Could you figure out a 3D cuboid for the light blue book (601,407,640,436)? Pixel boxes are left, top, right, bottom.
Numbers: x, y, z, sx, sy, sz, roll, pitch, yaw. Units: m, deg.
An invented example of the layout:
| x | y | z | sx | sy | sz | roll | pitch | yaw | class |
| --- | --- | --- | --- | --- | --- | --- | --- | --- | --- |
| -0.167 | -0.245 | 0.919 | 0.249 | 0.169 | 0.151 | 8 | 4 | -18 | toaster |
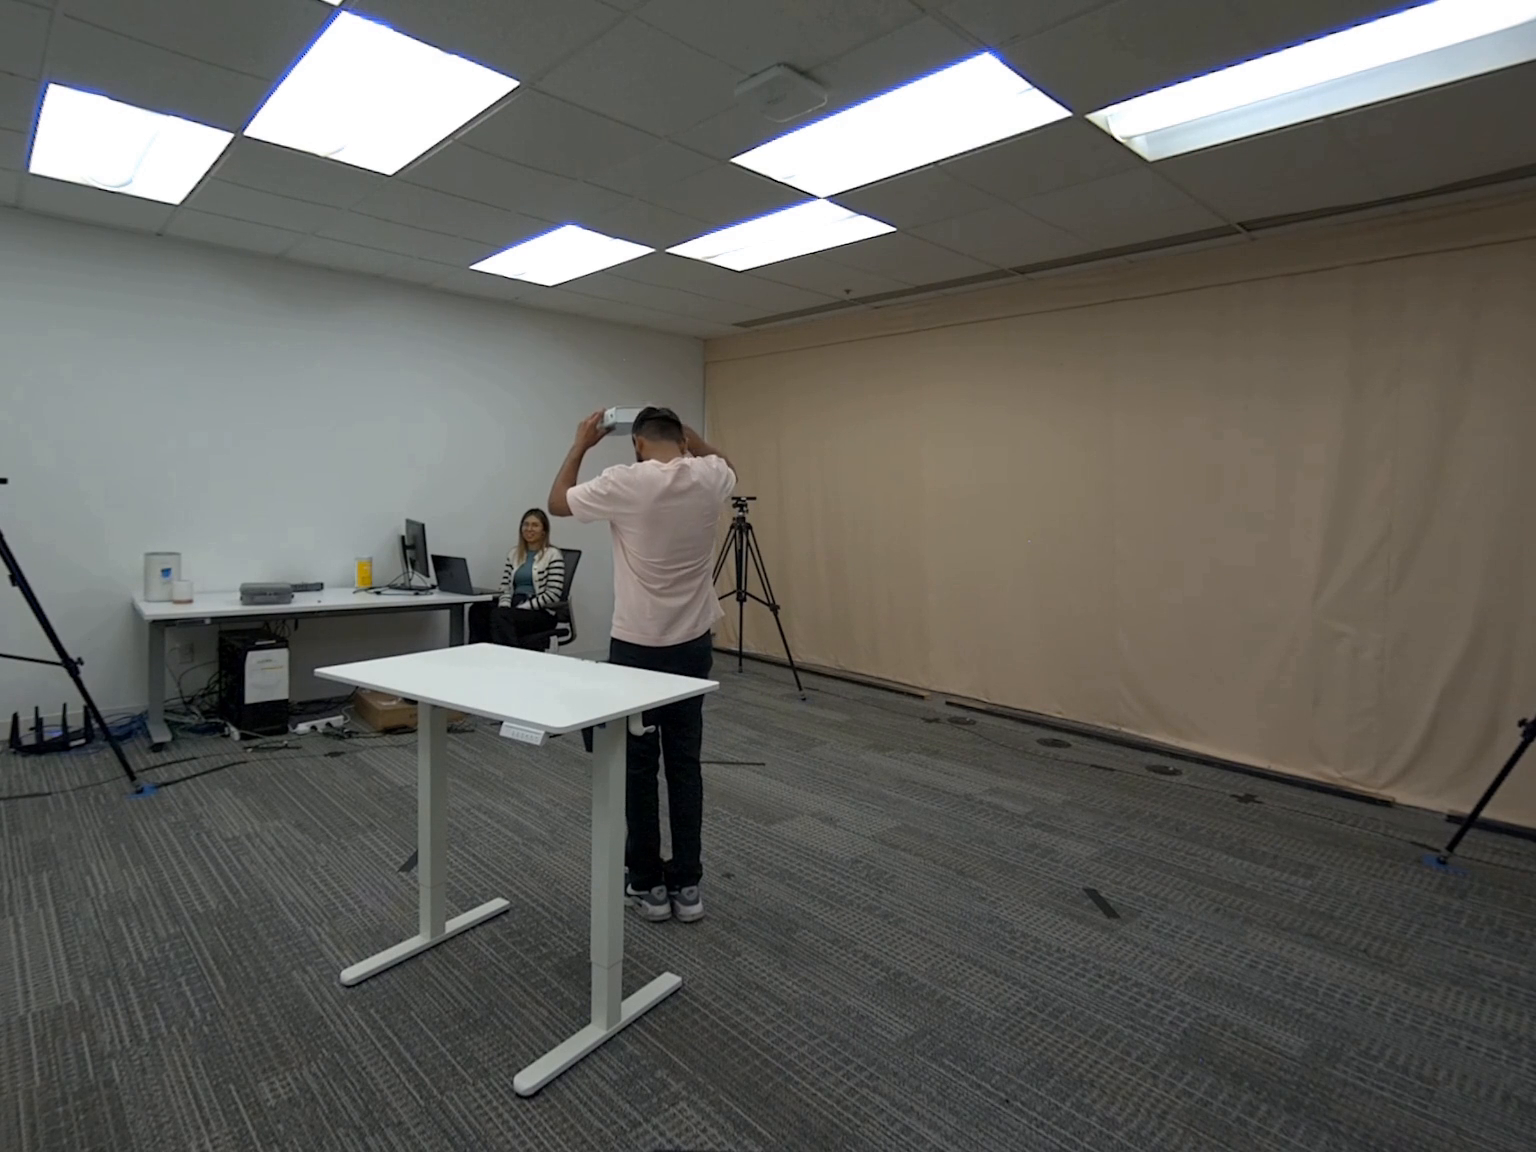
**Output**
| x | y | z | sx | sy | sz | roll | pitch | yaw | class |
| --- | --- | --- | --- | --- | --- | --- | --- | --- | --- |
| -0.537 | -0.556 | 3.036 | 0.188 | 0.059 | 0.266 | -9 | 4 | -30 | light blue book |
